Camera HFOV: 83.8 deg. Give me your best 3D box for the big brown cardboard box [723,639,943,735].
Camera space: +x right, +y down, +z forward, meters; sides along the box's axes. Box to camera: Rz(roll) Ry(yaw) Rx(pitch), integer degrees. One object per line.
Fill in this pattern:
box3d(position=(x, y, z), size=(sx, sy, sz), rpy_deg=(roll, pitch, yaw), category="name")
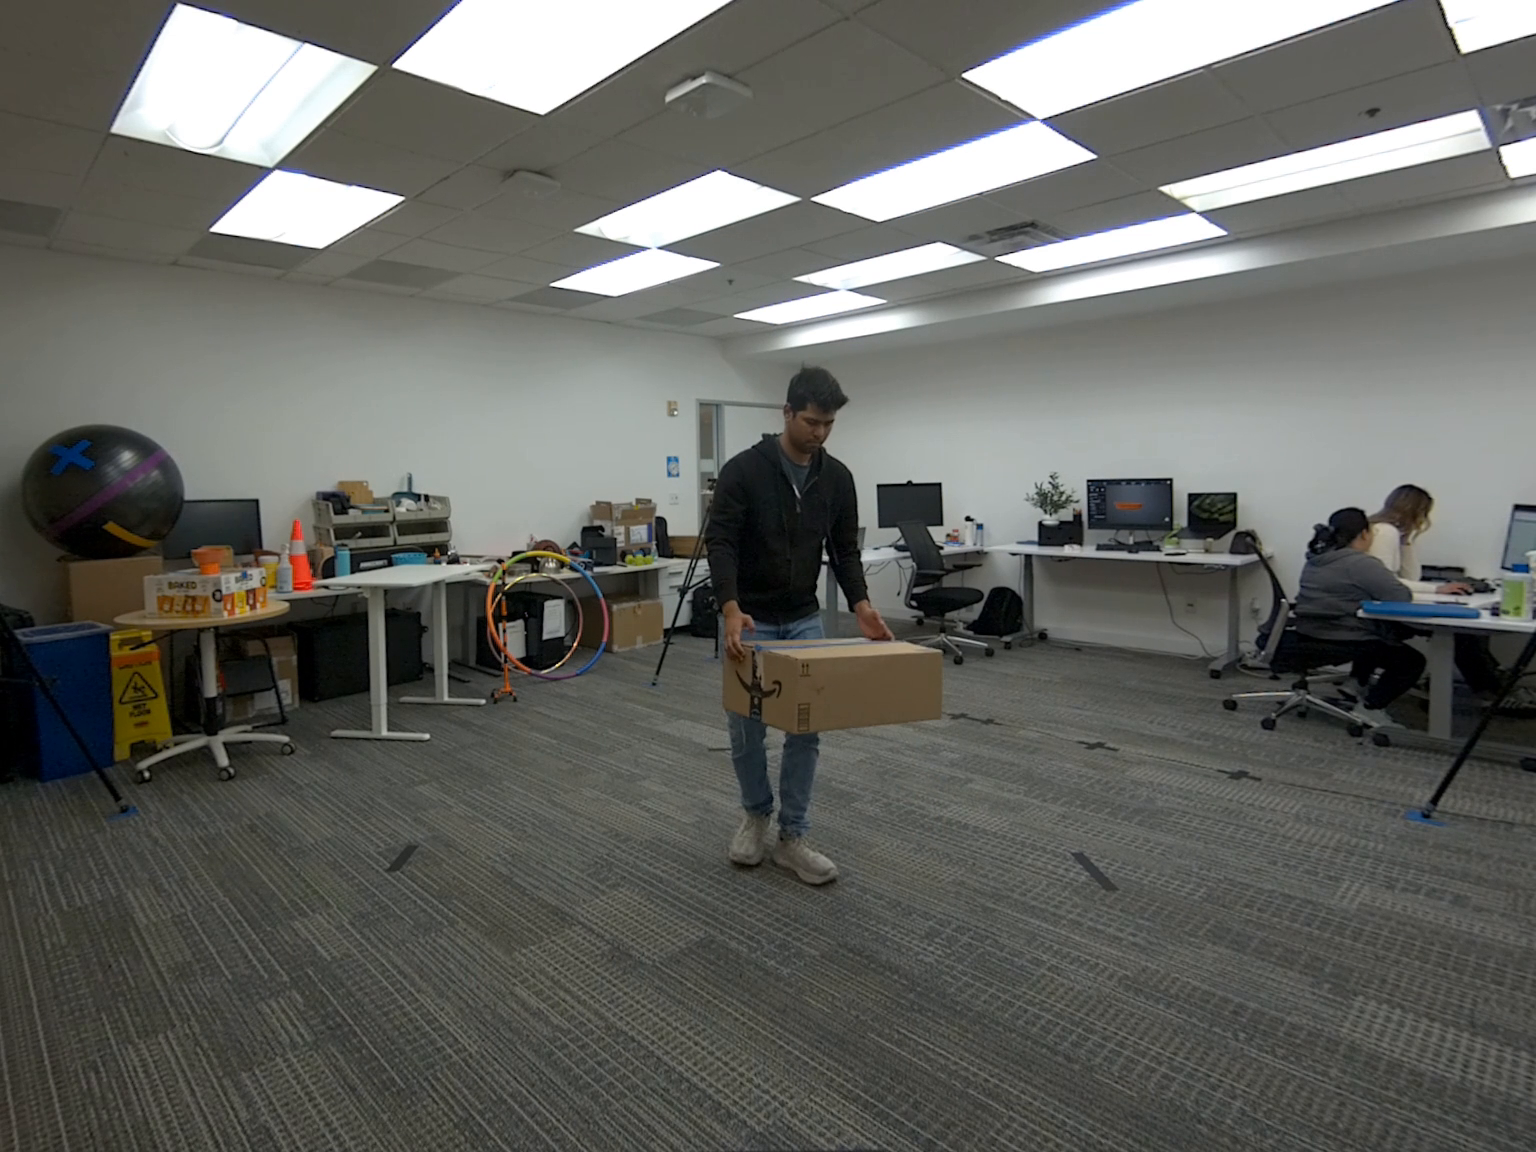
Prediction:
box3d(position=(0.209, 0.342, 2.720), size=(0.574, 0.233, 0.429), rpy_deg=(0, 2, -32), category="big brown cardboard box")
